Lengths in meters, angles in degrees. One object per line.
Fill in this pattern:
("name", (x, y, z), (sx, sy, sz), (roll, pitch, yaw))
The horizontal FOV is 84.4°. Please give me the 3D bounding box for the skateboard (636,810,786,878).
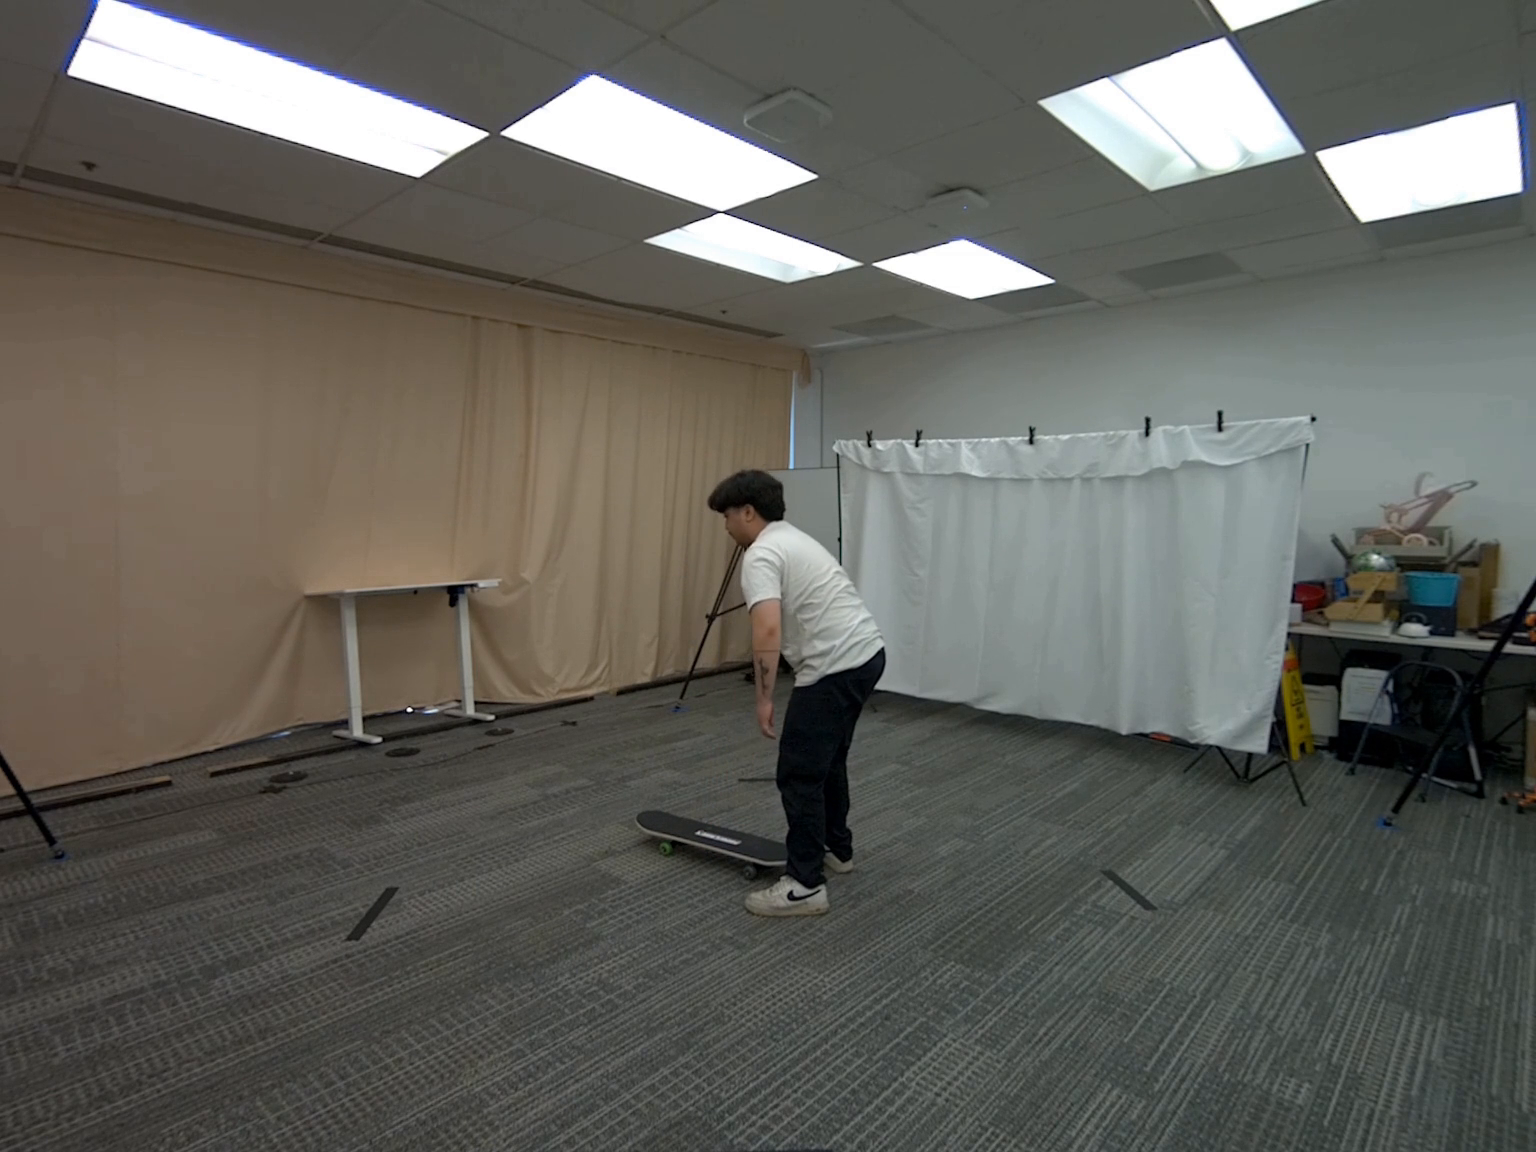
("skateboard", (-0.199, 1.062, 3.320), (0.809, 0.110, 0.188), (3, 5, 33))
